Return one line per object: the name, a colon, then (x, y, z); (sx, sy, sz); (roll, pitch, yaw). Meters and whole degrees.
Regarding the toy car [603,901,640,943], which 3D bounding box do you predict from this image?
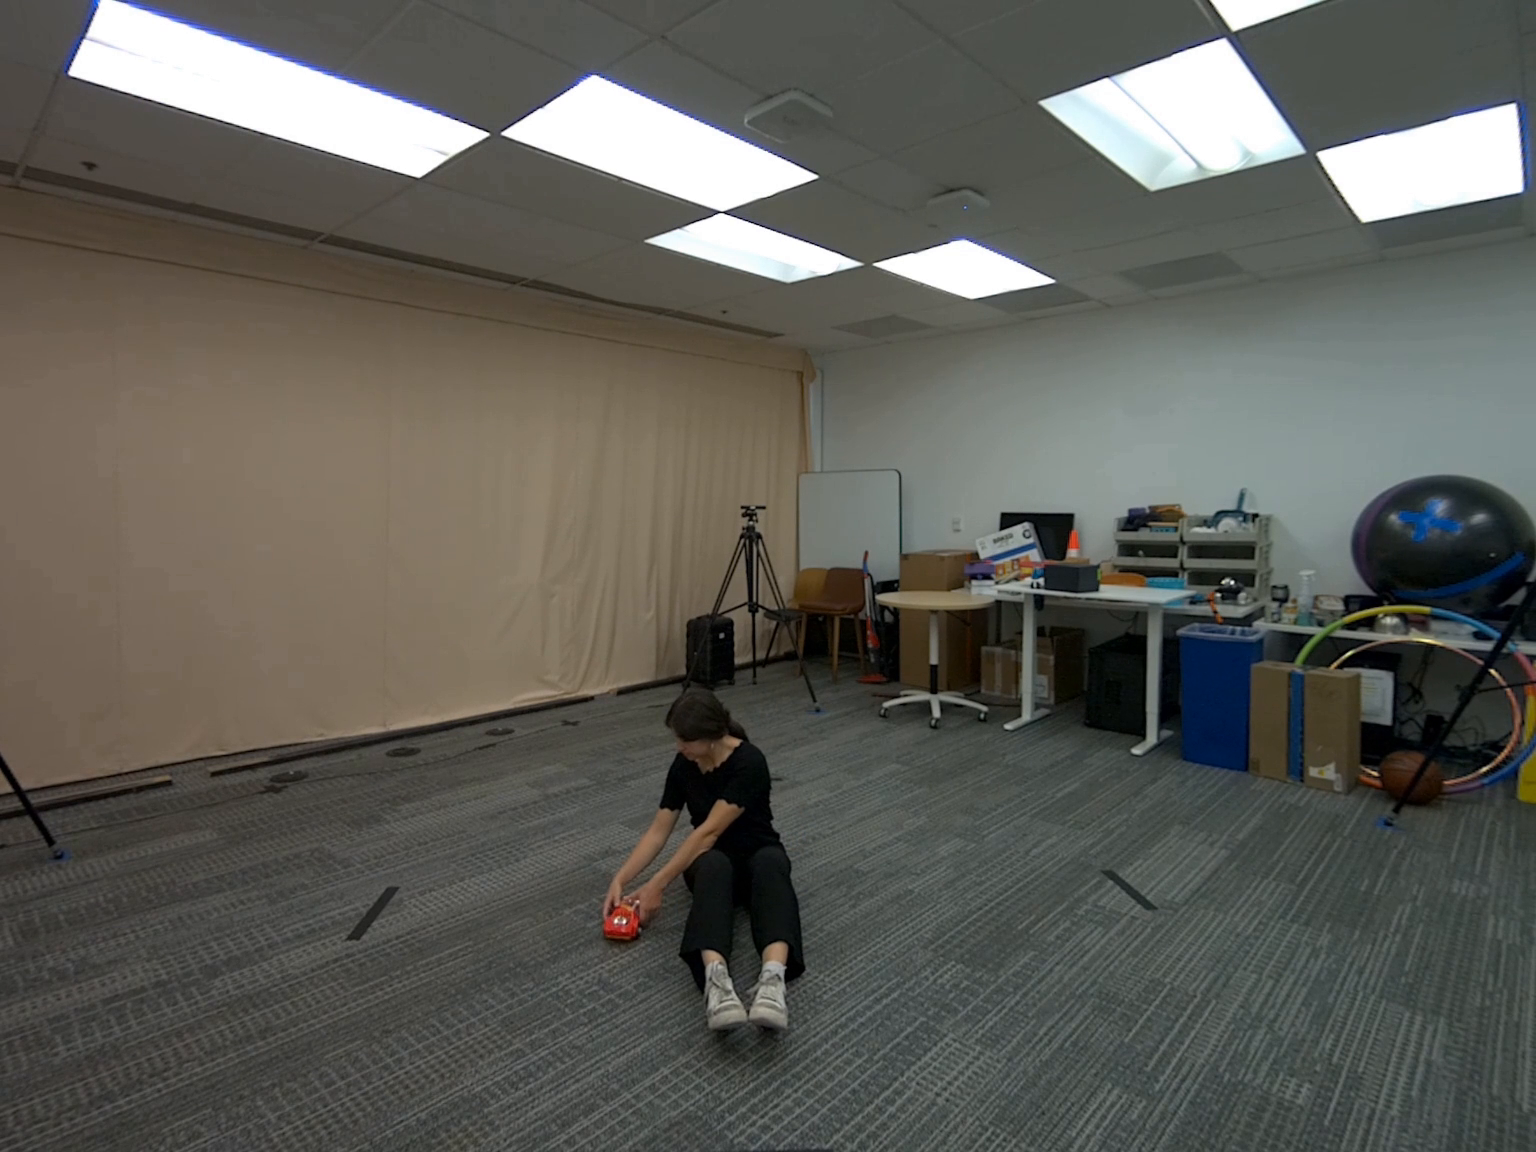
toy car: (-0.462, 1.128, 2.778); (0.132, 0.083, 0.250); (1, -7, 9)
